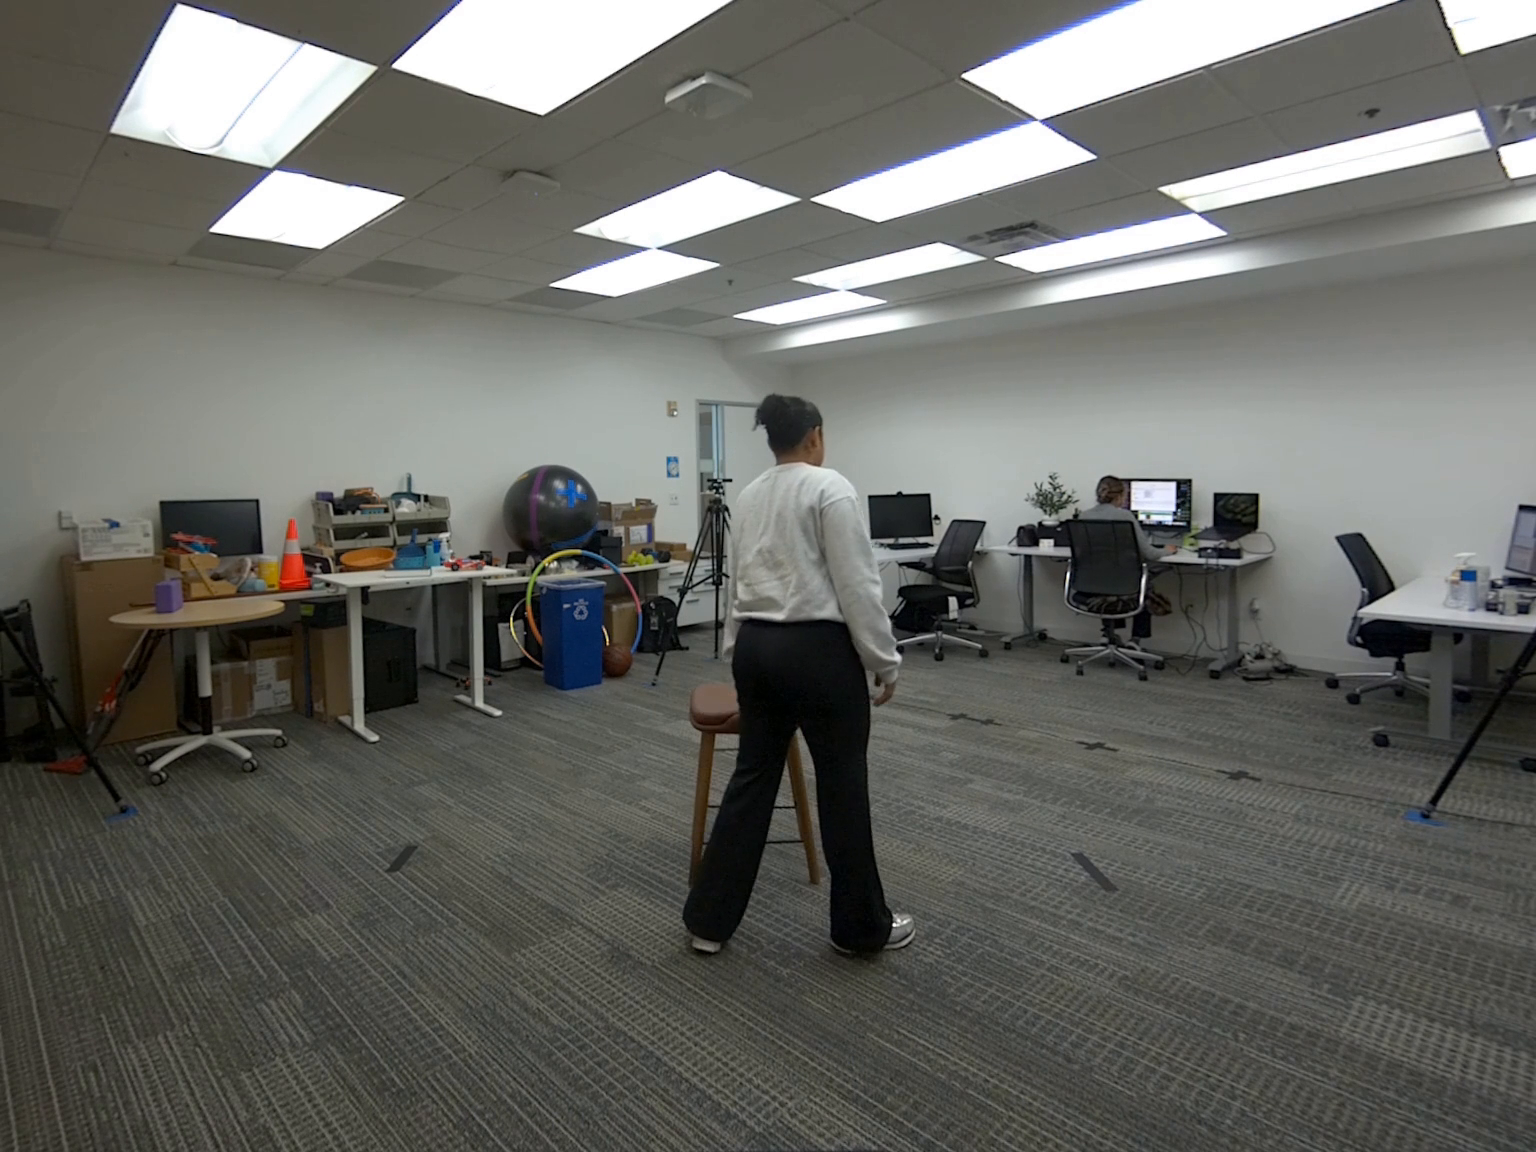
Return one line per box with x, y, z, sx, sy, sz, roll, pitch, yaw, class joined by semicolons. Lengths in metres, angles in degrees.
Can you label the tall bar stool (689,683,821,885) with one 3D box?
-0.054;0.613;3.091;0.467;0.886;0.458;1;4;-1;tall bar stool
